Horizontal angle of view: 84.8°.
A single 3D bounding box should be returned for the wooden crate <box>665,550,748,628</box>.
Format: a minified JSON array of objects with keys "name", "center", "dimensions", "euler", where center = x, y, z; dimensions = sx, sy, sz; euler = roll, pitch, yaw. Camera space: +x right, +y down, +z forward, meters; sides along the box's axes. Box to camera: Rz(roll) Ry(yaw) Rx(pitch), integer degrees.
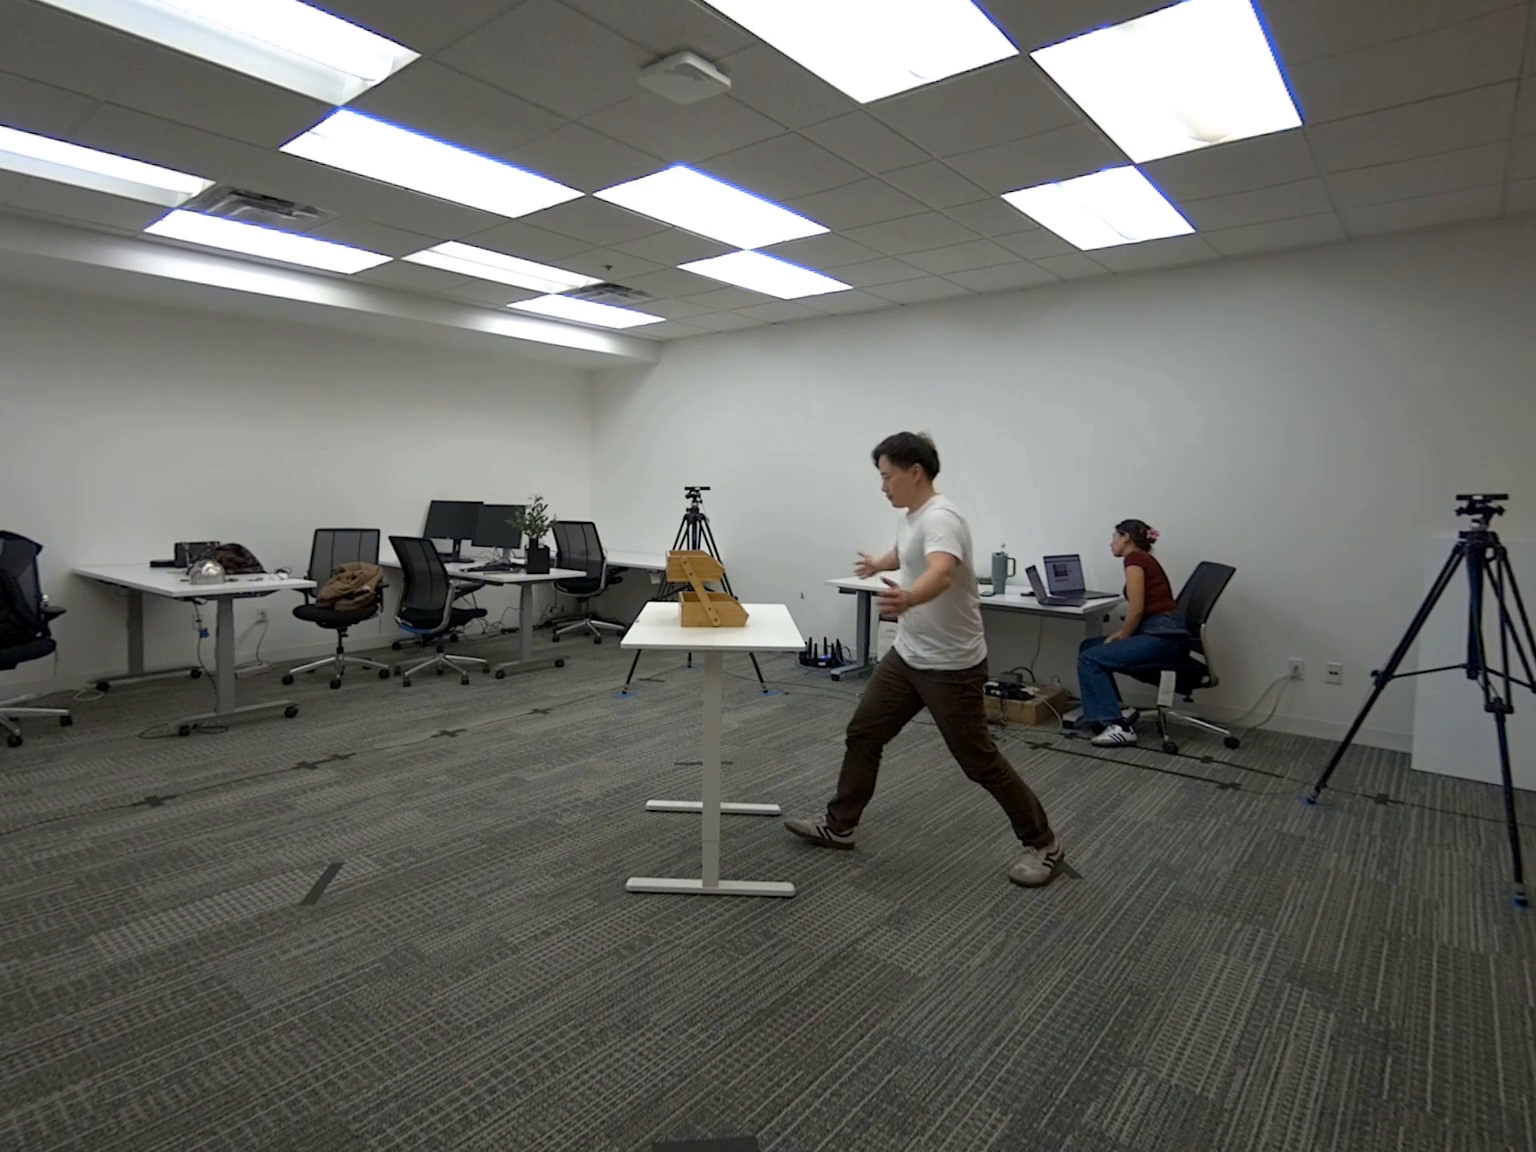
[{"name":"wooden crate","center":[-0.244,0.044,3.248],"dimensions":[0.300,0.272,0.328],"euler":[0,5,-6]}]
